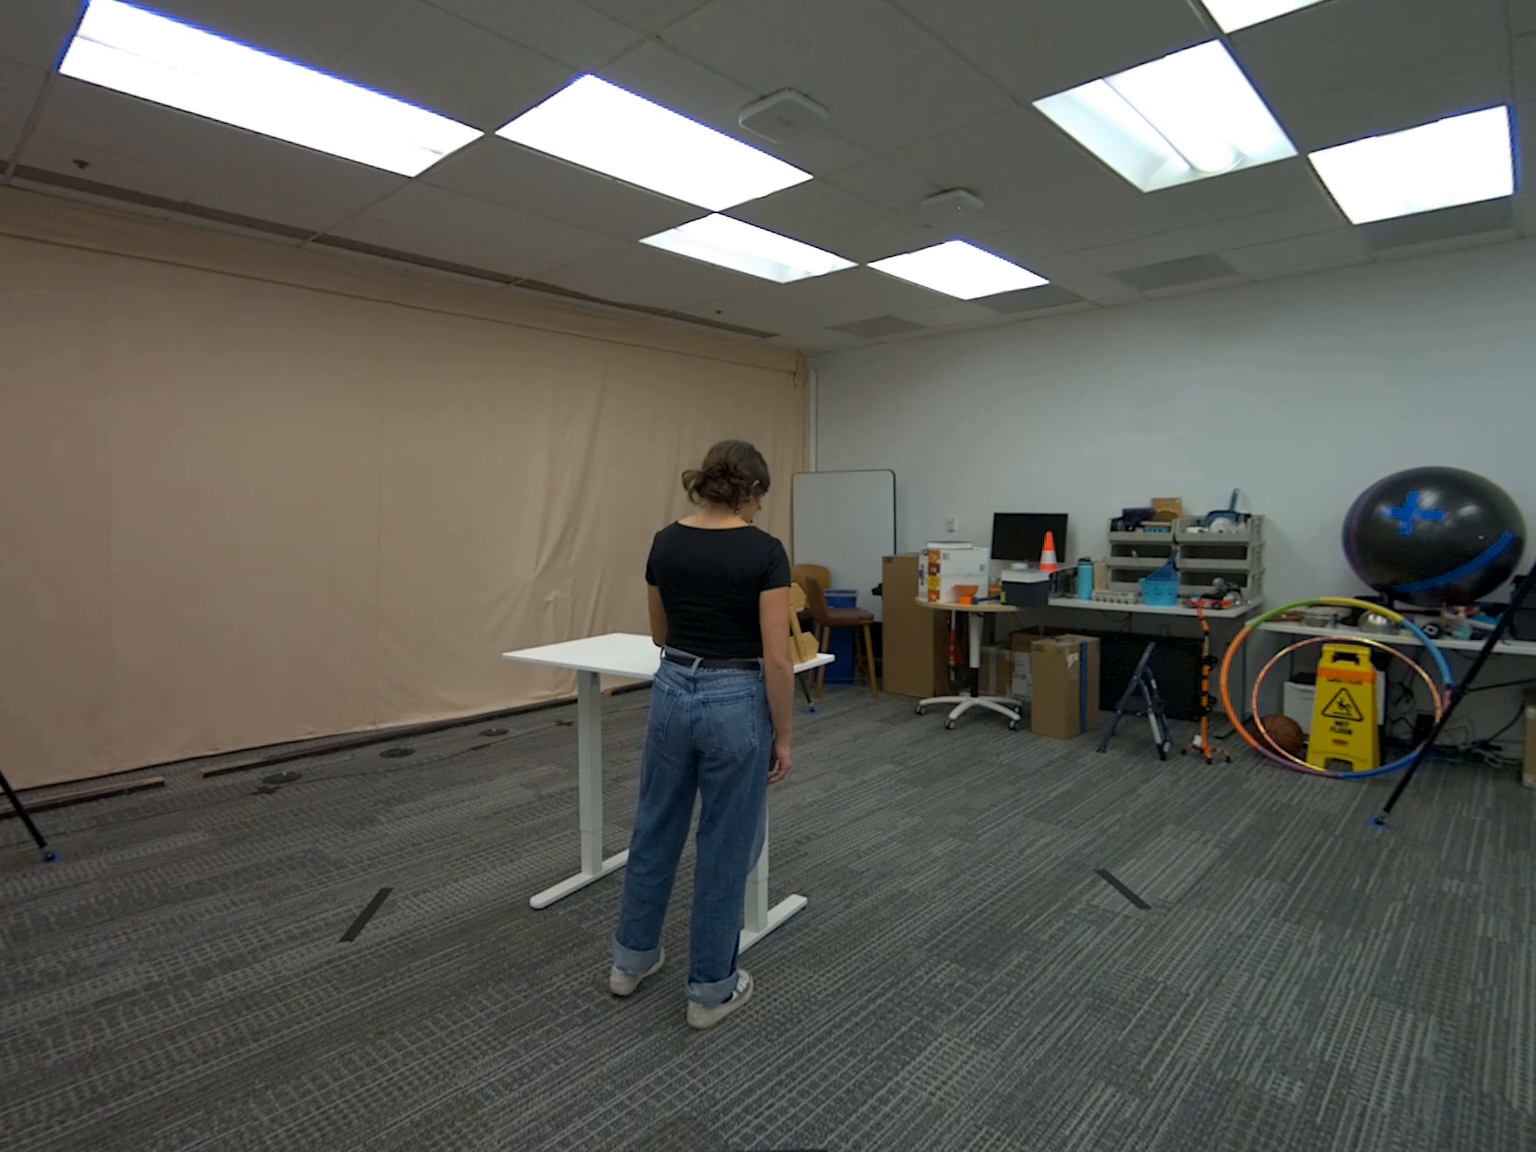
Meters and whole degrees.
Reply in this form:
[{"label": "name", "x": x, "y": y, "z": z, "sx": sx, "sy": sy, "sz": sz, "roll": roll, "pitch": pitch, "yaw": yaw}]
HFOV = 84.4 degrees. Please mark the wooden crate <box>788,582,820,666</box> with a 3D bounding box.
[{"label": "wooden crate", "x": -0.035, "y": 0.144, "z": 2.768, "sx": 0.334, "sy": 0.272, "sz": 0.294, "roll": 2, "pitch": 5, "yaw": 32}]
